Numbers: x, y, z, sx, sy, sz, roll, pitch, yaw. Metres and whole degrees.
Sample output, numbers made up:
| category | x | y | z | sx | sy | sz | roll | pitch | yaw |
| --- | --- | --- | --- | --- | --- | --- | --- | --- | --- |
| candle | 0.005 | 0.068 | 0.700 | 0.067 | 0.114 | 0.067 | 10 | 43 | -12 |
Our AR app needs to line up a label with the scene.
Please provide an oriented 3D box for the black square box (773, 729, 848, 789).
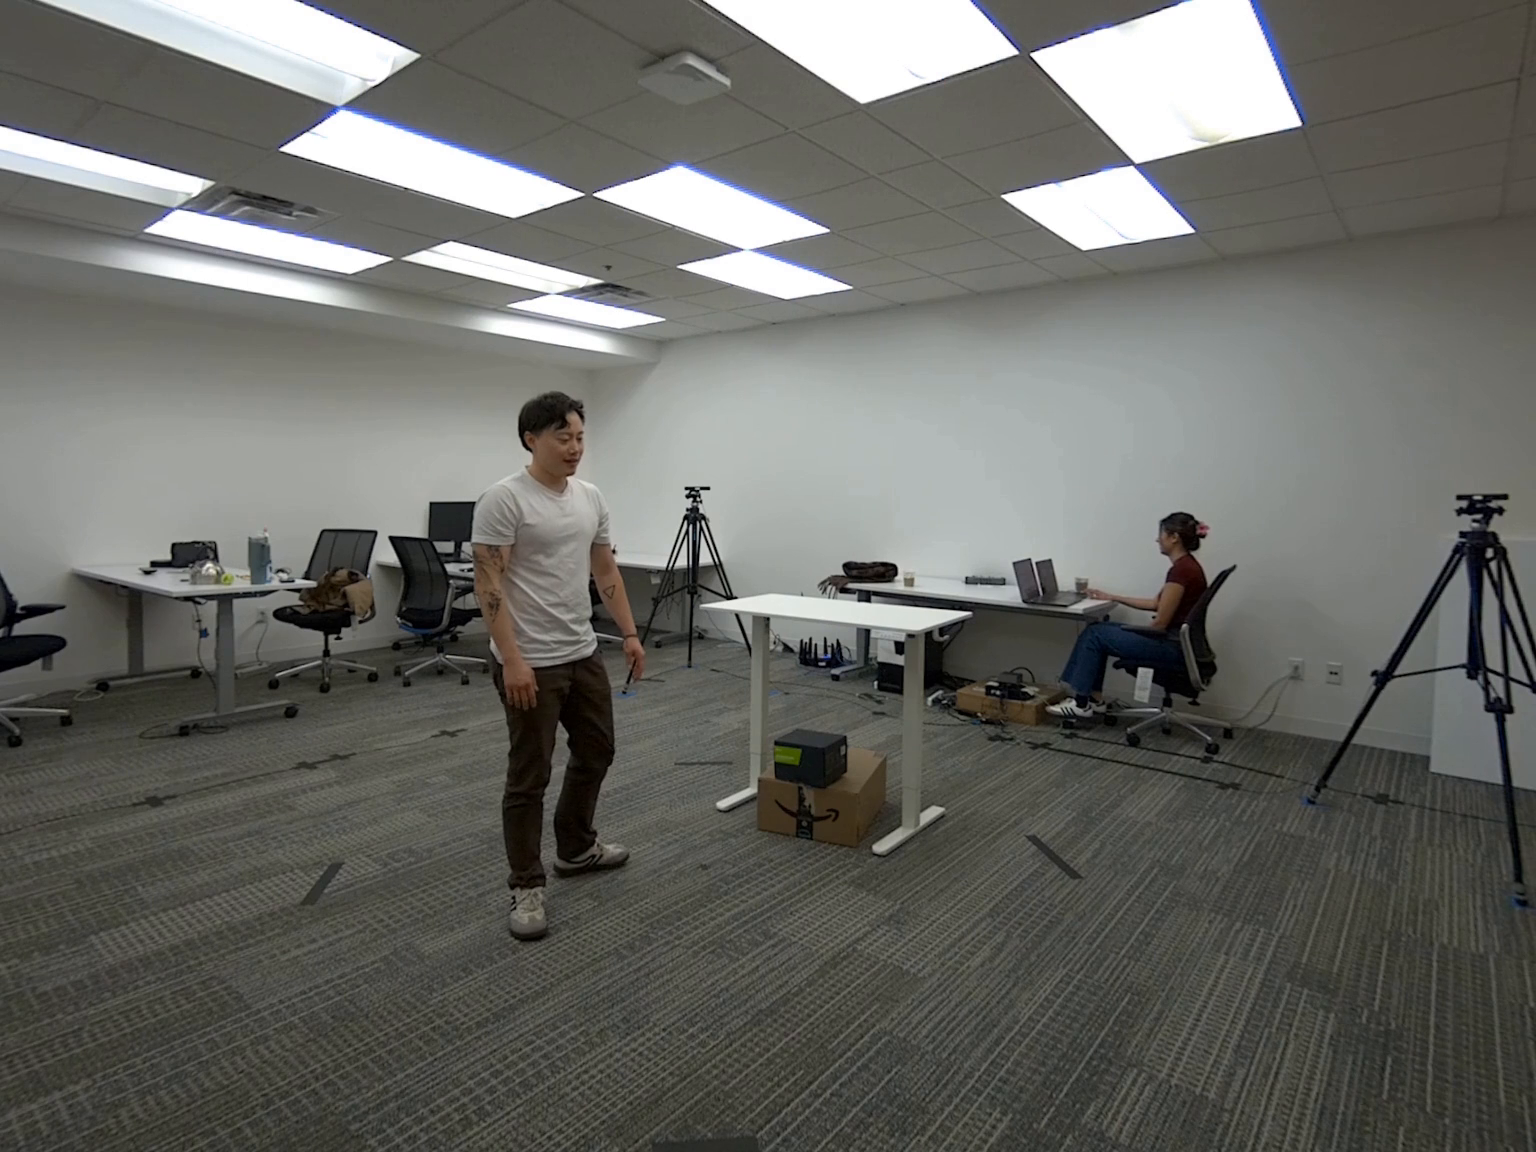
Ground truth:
| category | x | y | z | sx | sy | sz | roll | pitch | yaw |
| --- | --- | --- | --- | --- | --- | --- | --- | --- | --- |
| black square box | 0.165 | 0.731 | 3.479 | 0.234 | 0.155 | 0.211 | 1 | 4 | 31 |
